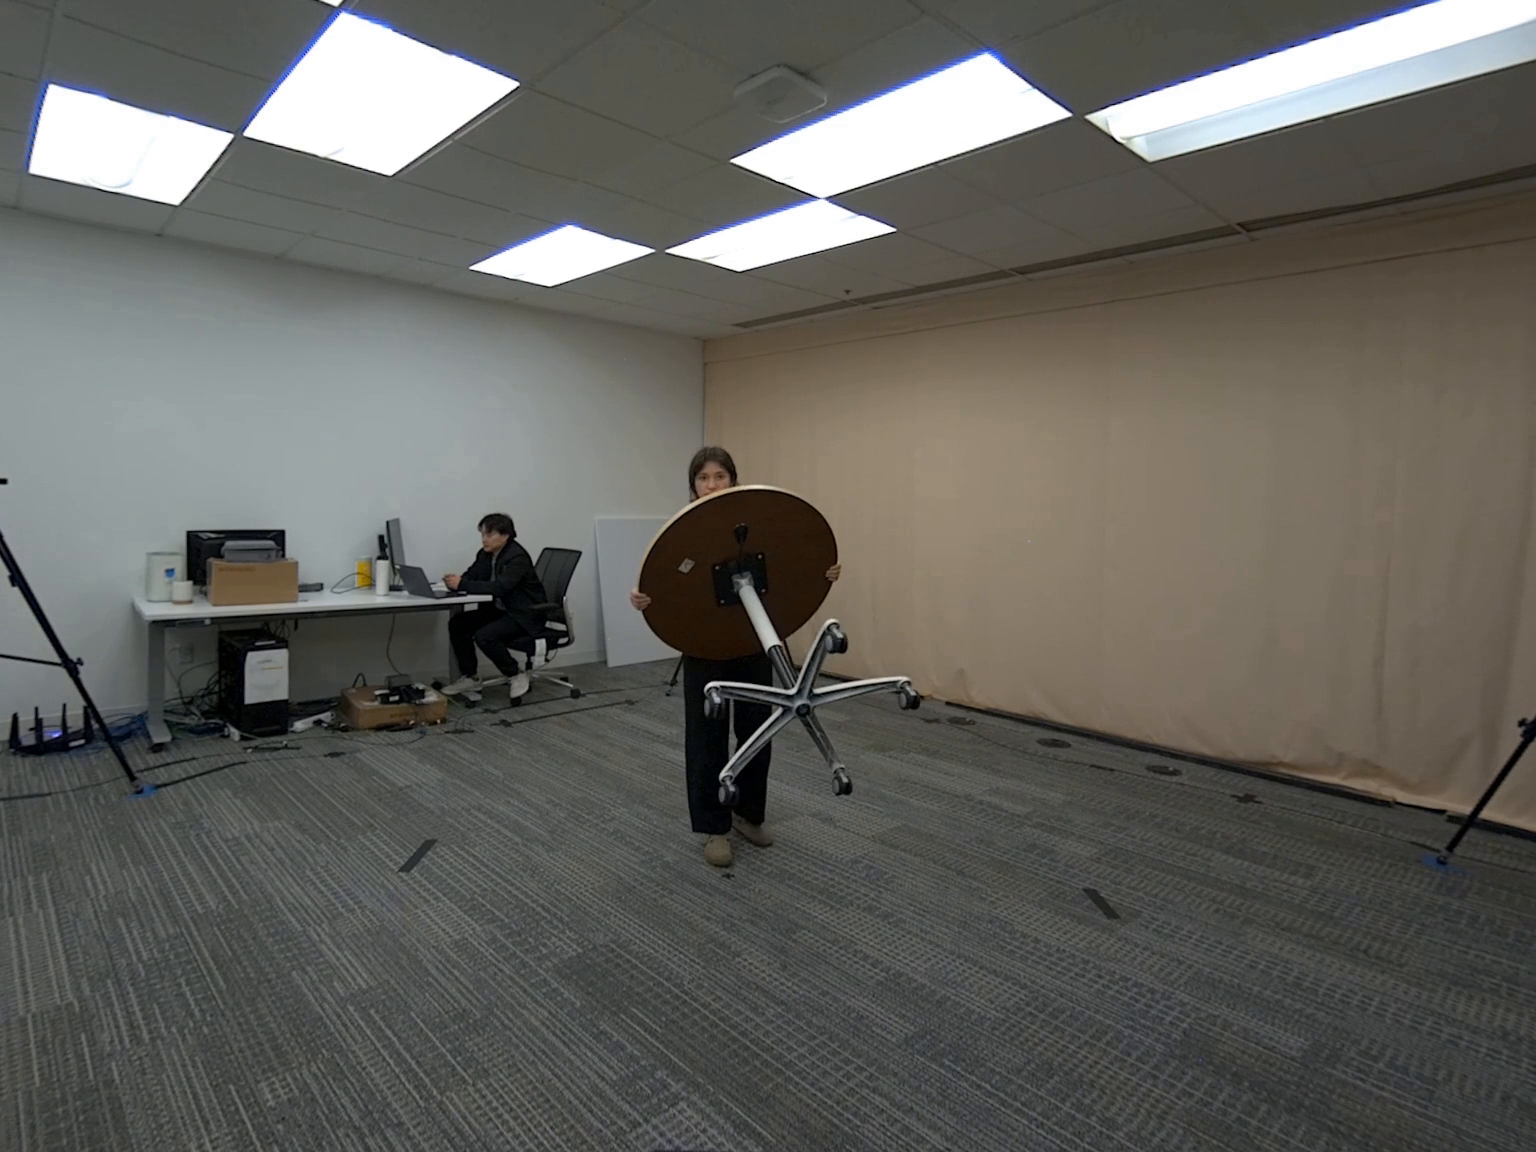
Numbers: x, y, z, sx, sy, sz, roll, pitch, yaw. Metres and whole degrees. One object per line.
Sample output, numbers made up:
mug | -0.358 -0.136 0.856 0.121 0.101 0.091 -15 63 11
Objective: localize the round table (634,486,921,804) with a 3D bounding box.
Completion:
round table | 0.013 0.235 2.804 0.752 0.753 0.818 0 34 -20
